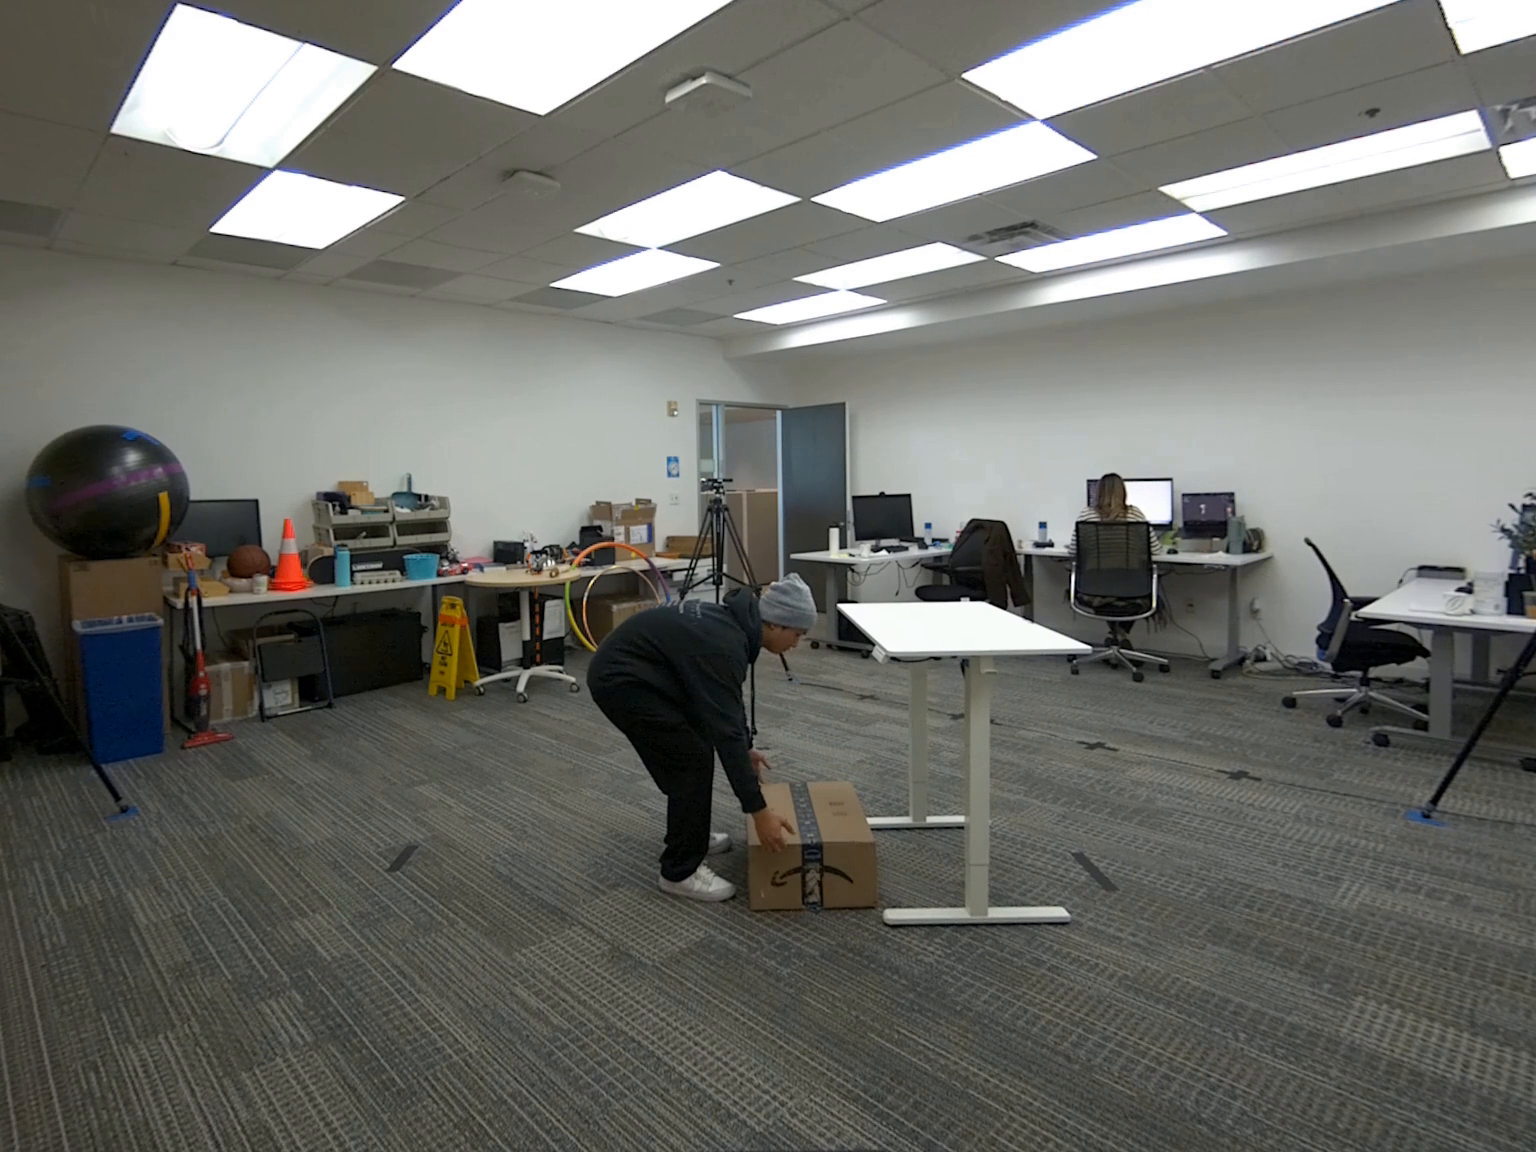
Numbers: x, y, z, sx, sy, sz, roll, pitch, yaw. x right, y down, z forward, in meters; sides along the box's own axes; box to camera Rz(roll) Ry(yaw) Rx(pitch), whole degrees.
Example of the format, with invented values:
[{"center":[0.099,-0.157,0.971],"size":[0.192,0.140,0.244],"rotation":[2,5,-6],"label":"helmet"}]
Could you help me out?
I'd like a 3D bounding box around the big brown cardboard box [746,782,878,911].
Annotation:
[{"center":[0.134,0.938,3.030],"size":[0.417,0.232,0.592],"rotation":[-2,7,-1],"label":"big brown cardboard box"}]
